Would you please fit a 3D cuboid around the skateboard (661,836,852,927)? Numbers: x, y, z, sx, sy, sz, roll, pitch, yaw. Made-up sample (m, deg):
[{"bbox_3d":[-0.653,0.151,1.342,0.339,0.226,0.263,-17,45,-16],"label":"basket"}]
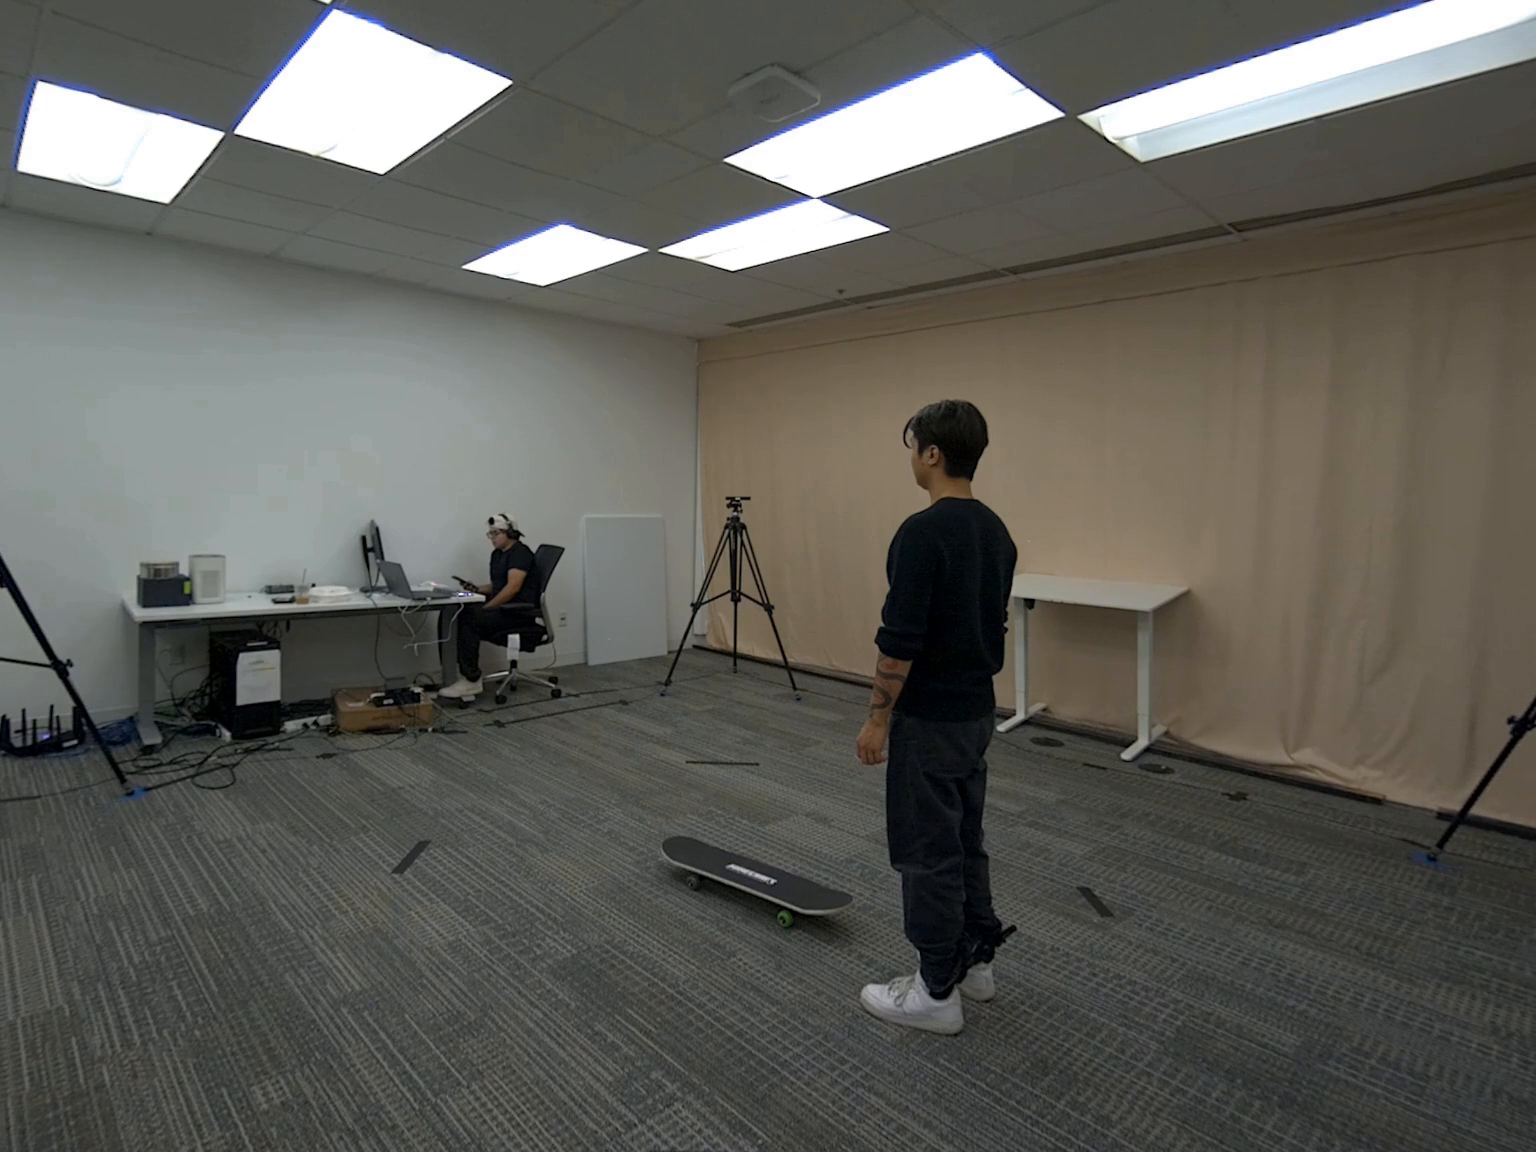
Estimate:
[{"bbox_3d":[-0.066,1.068,2.919,0.805,0.110,0.189,5,6,37],"label":"skateboard"}]
